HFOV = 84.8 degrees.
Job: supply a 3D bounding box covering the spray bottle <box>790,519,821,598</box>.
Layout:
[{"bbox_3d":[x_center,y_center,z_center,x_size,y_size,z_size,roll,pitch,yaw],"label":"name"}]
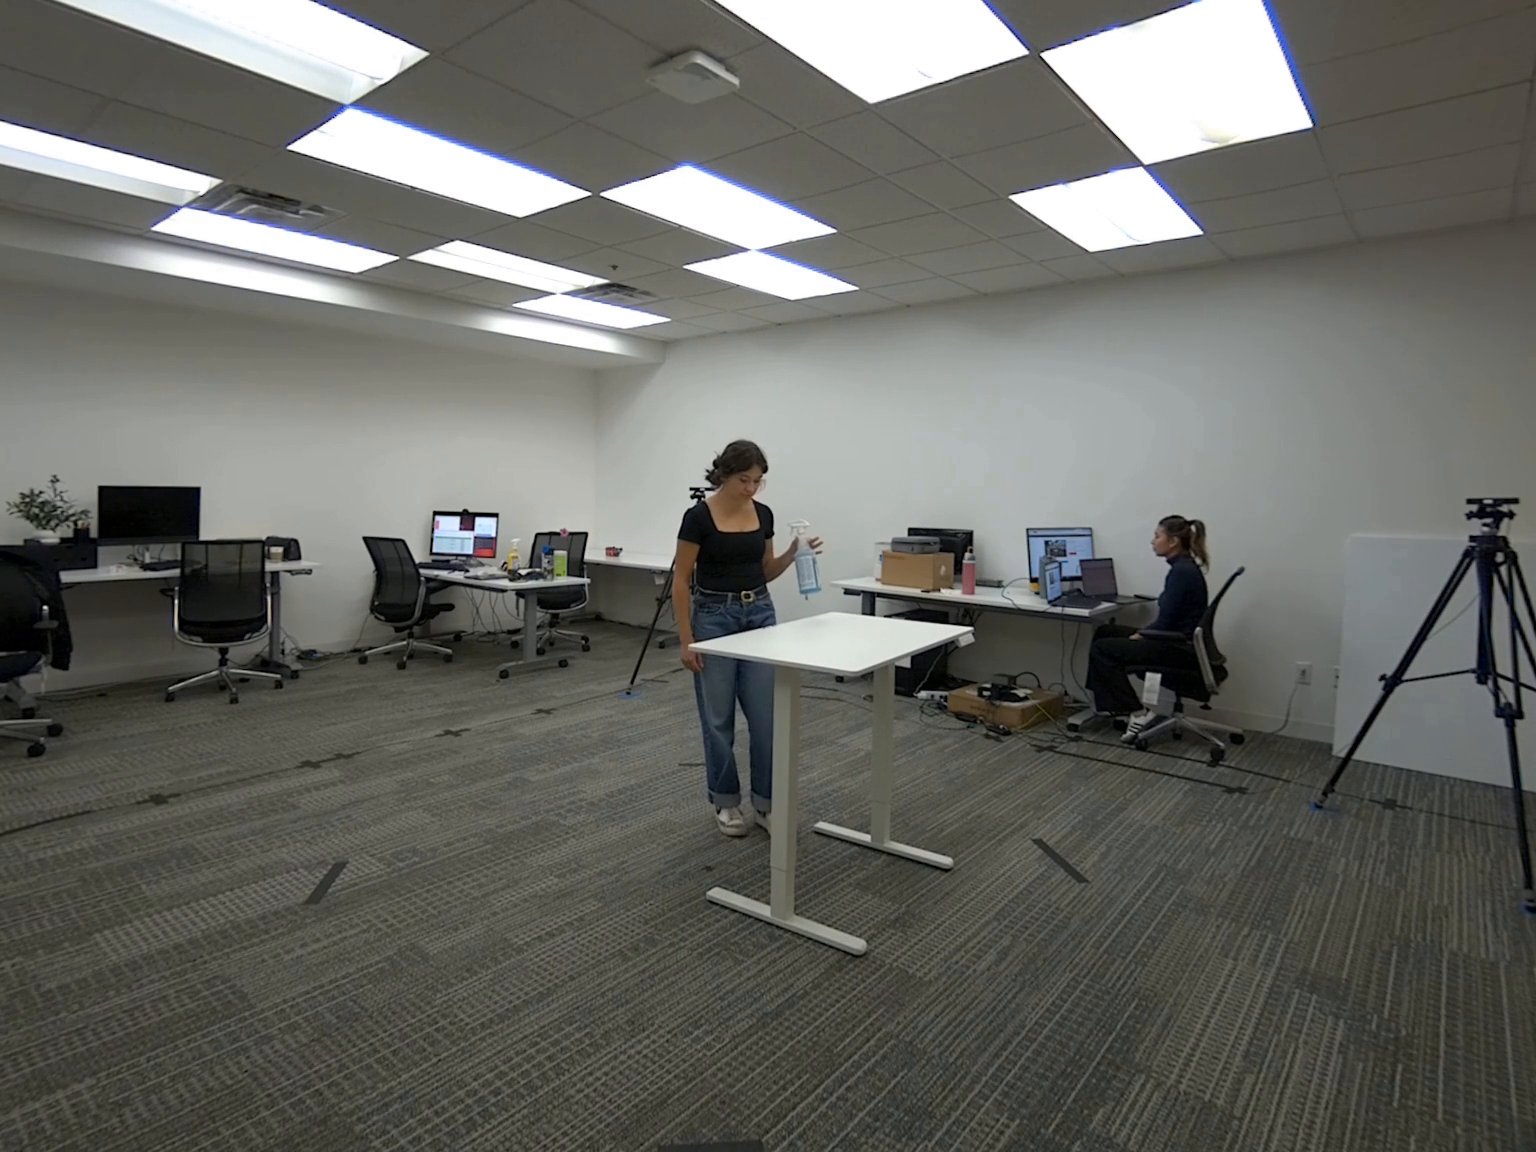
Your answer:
[{"bbox_3d":[0.152,-0.081,3.391,0.084,0.300,0.092,-2,-12,-42],"label":"spray bottle"}]
